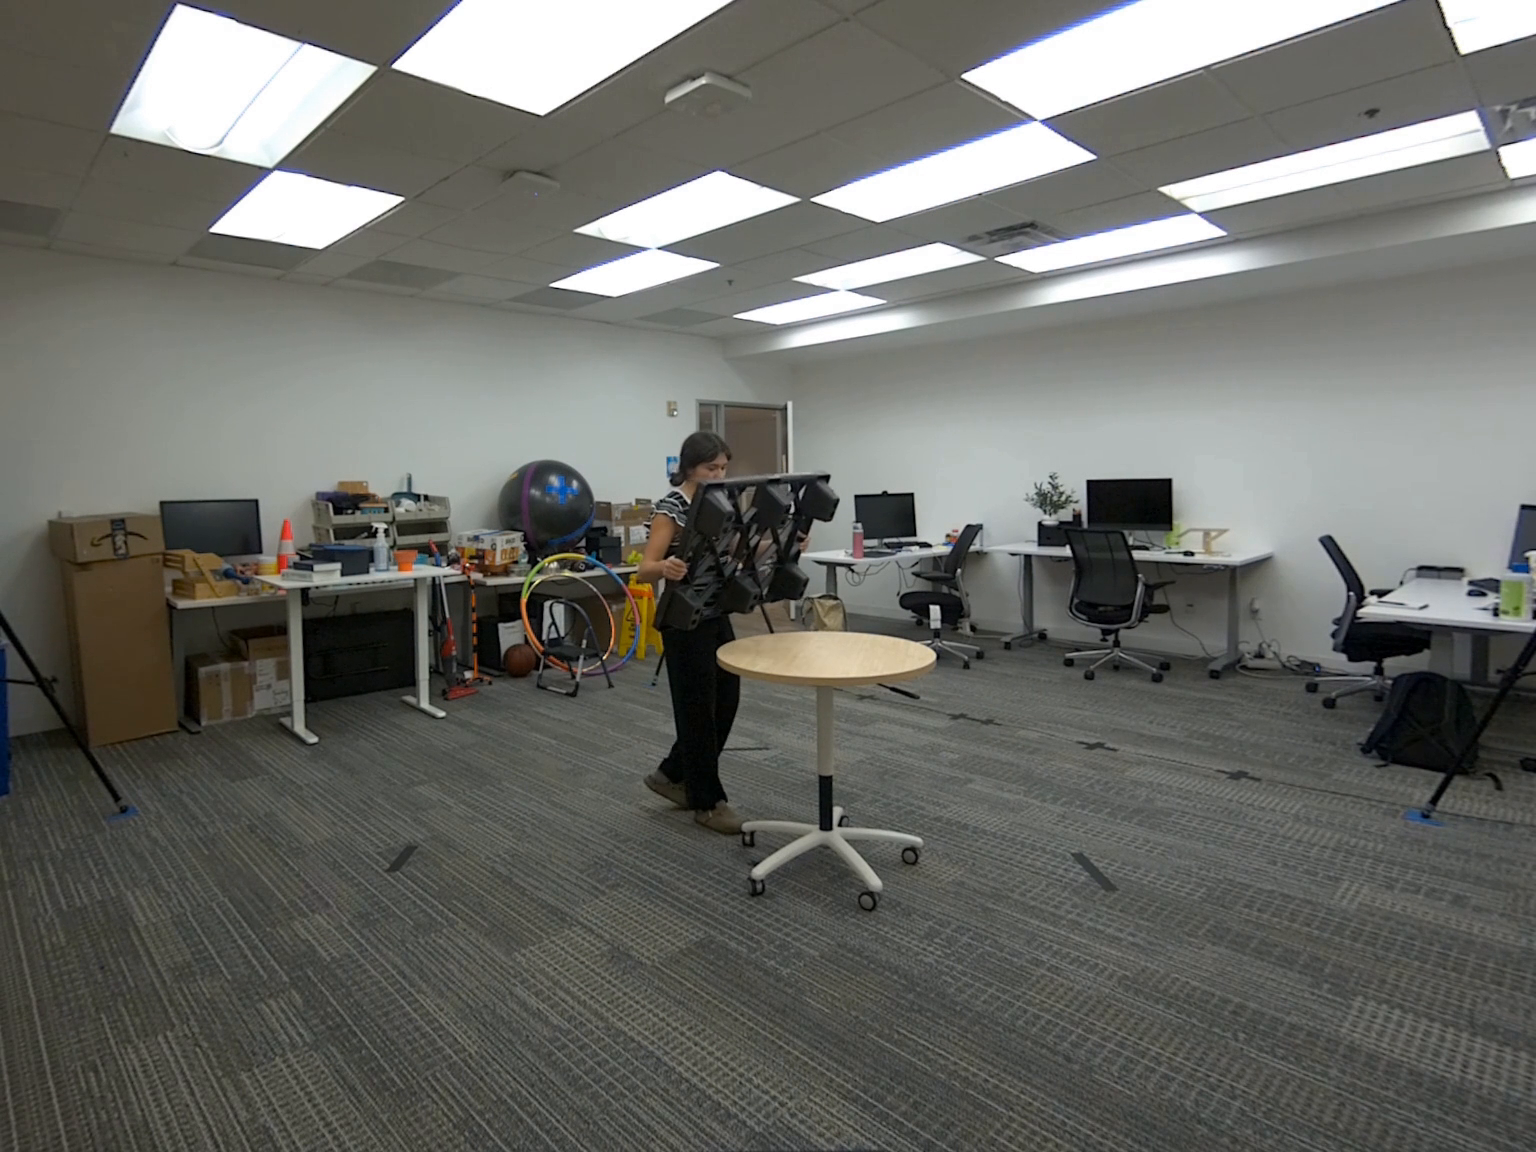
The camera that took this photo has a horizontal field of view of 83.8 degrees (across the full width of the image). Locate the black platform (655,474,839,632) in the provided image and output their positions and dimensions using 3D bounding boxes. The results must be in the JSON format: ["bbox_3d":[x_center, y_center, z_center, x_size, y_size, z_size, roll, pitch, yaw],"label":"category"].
[{"bbox_3d":[-0.048,-0.092,3.272,0.148,0.598,0.787,33,25,29],"label":"black platform"}]
